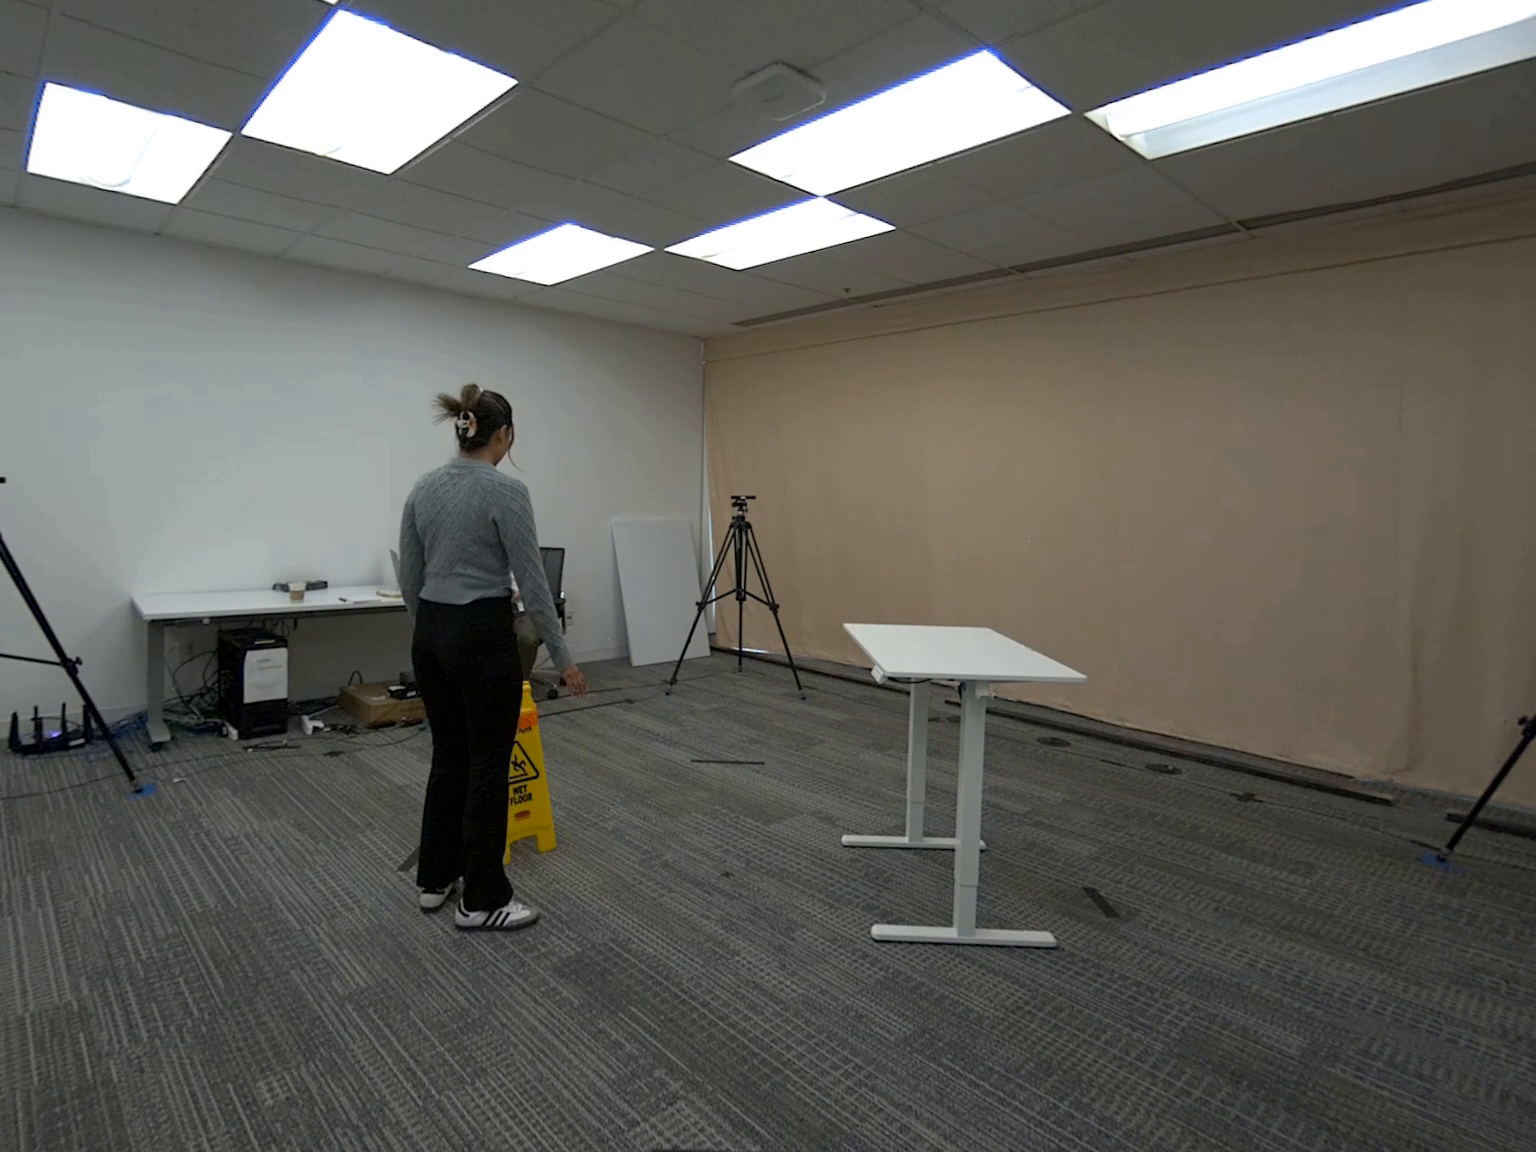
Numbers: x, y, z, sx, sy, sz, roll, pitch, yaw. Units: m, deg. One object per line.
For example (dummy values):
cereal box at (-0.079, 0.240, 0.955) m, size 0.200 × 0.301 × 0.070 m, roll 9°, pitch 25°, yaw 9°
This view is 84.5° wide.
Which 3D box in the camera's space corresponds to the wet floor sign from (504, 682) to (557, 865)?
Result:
wet floor sign at (-1.034, 0.749, 3.293) m, size 0.297 × 0.645 × 0.276 m, roll 3°, pitch 3°, yaw 44°
